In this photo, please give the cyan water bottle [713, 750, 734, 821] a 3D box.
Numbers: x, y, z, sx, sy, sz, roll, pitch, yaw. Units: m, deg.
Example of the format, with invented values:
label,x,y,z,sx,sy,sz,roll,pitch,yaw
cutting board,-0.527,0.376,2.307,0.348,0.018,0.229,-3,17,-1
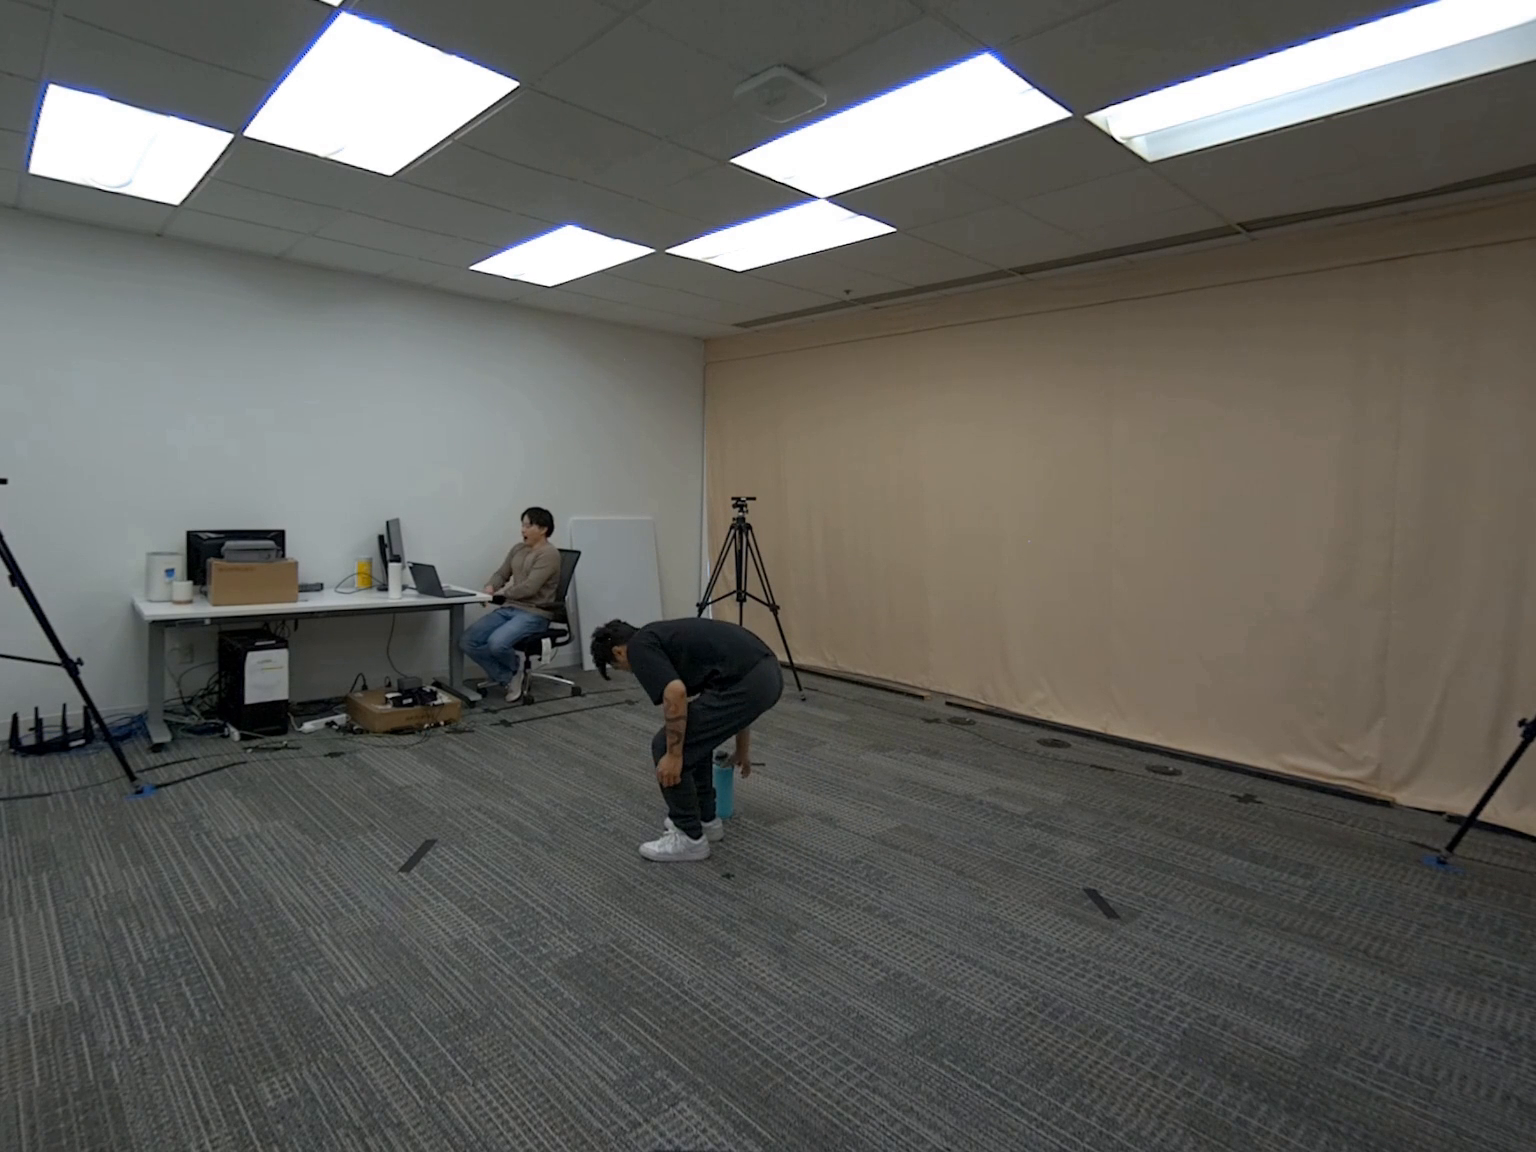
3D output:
label,x,y,z,sx,sy,sz,roll,pitch,yaw
cyan water bottle,-0.206,0.914,3.710,0.092,0.283,0.092,2,2,-1
